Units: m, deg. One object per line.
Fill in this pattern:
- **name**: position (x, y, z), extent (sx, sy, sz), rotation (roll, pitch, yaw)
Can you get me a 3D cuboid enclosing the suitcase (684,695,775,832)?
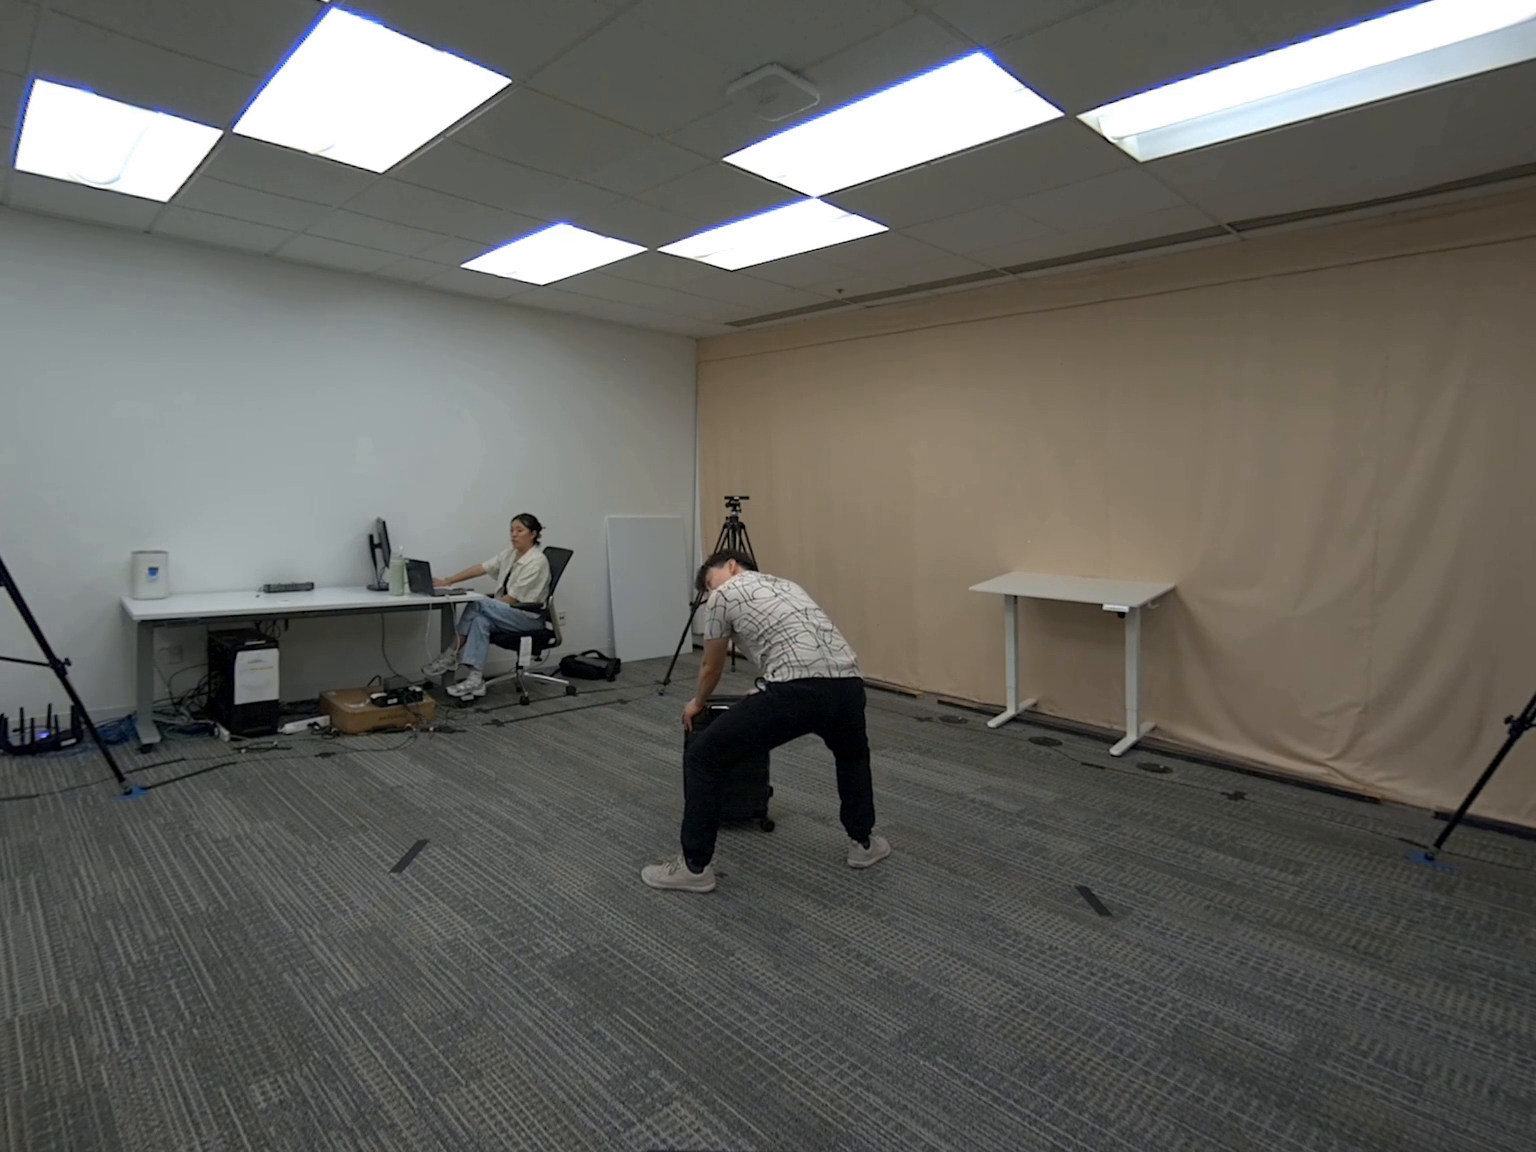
- **suitcase**: position (-0.182, 0.785, 3.599), extent (0.374, 0.548, 0.250), rotation (0, 3, -5)
